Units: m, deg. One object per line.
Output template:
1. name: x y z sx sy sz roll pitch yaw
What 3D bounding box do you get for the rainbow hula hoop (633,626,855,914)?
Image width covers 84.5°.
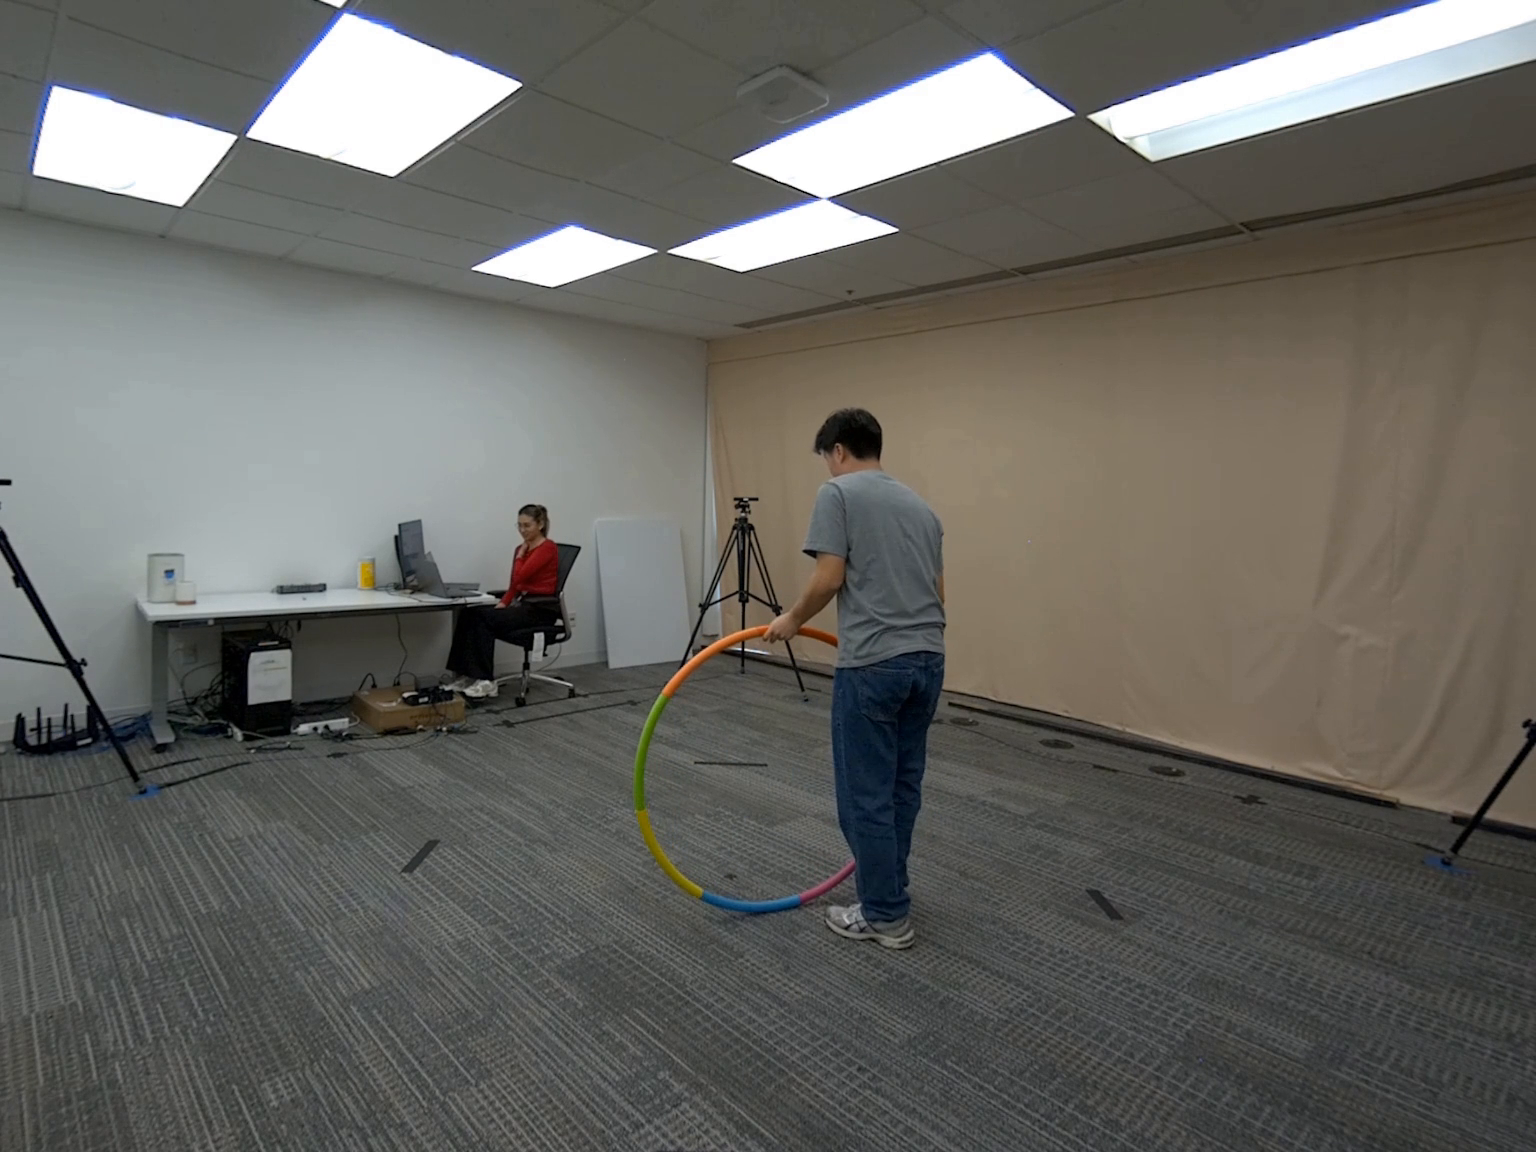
1. rainbow hula hoop: 0.015 0.645 2.843 0.963 0.978 0.036 0 1 -21
